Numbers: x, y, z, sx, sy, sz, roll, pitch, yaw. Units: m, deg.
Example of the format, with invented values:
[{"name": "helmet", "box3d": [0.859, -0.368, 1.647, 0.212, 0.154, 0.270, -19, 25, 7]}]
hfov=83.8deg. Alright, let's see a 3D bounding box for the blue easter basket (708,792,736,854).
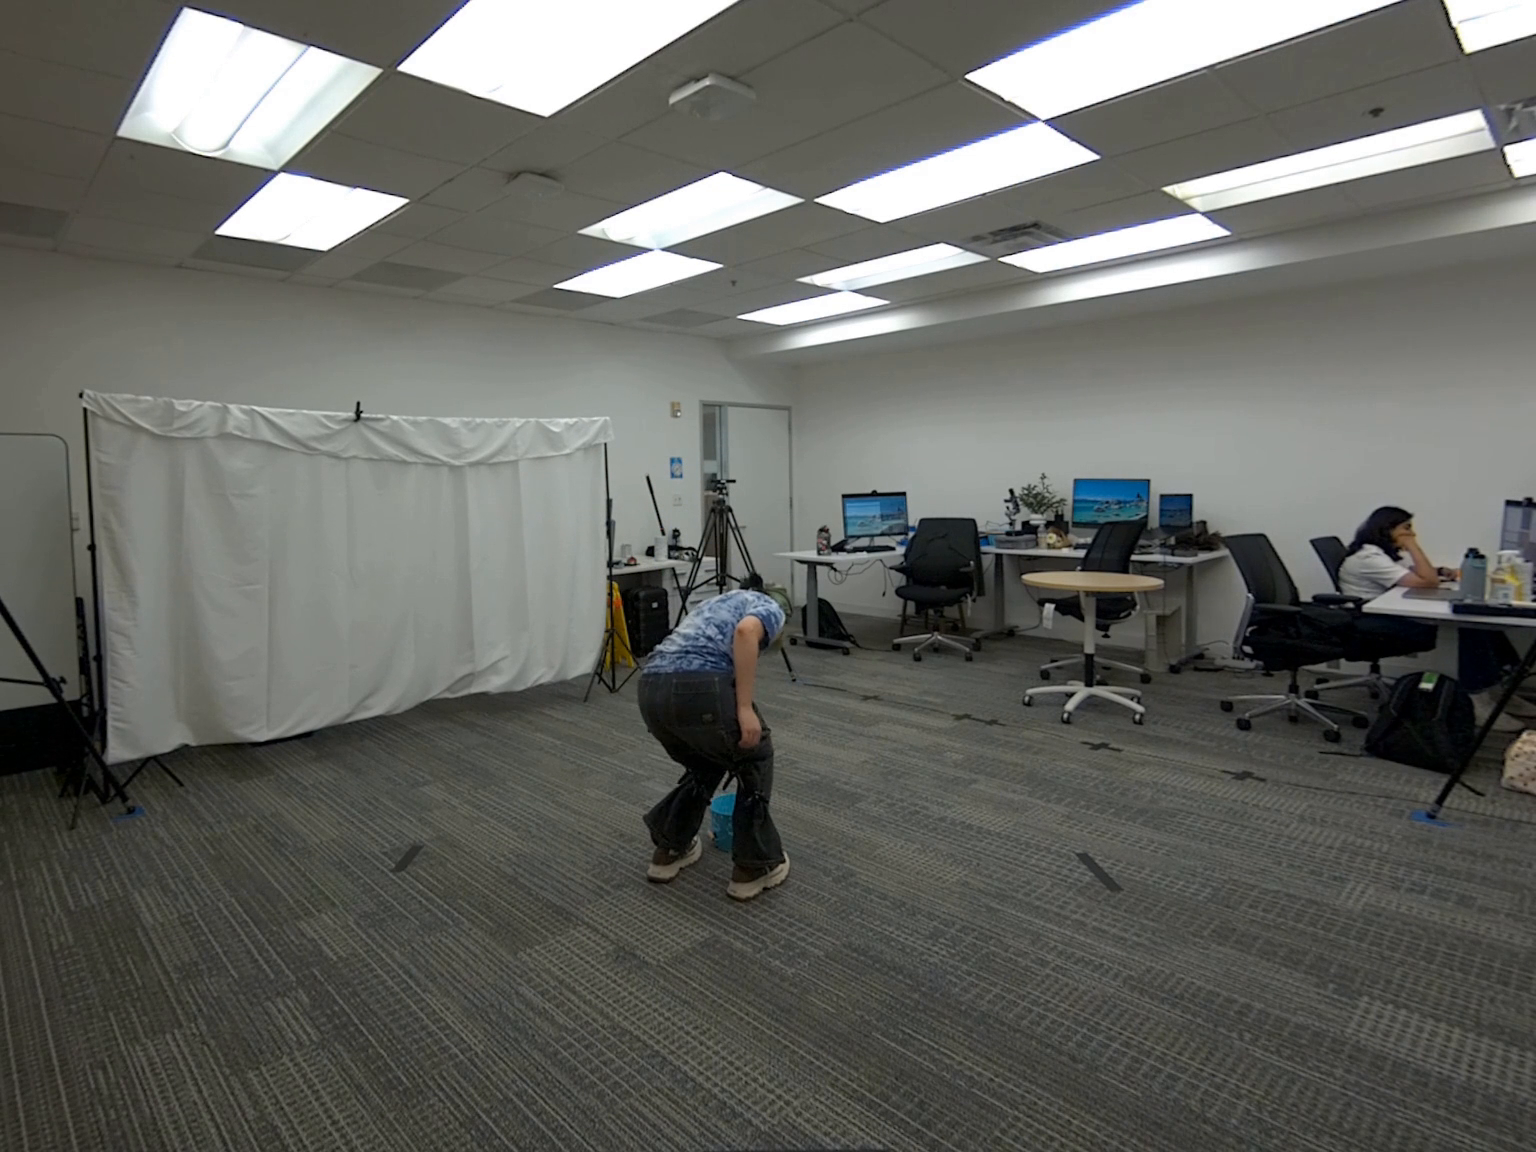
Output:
[{"name": "blue easter basket", "box3d": [-0.121, 0.951, 3.290, 0.243, 0.155, 0.245, -1, 5, -2]}]
